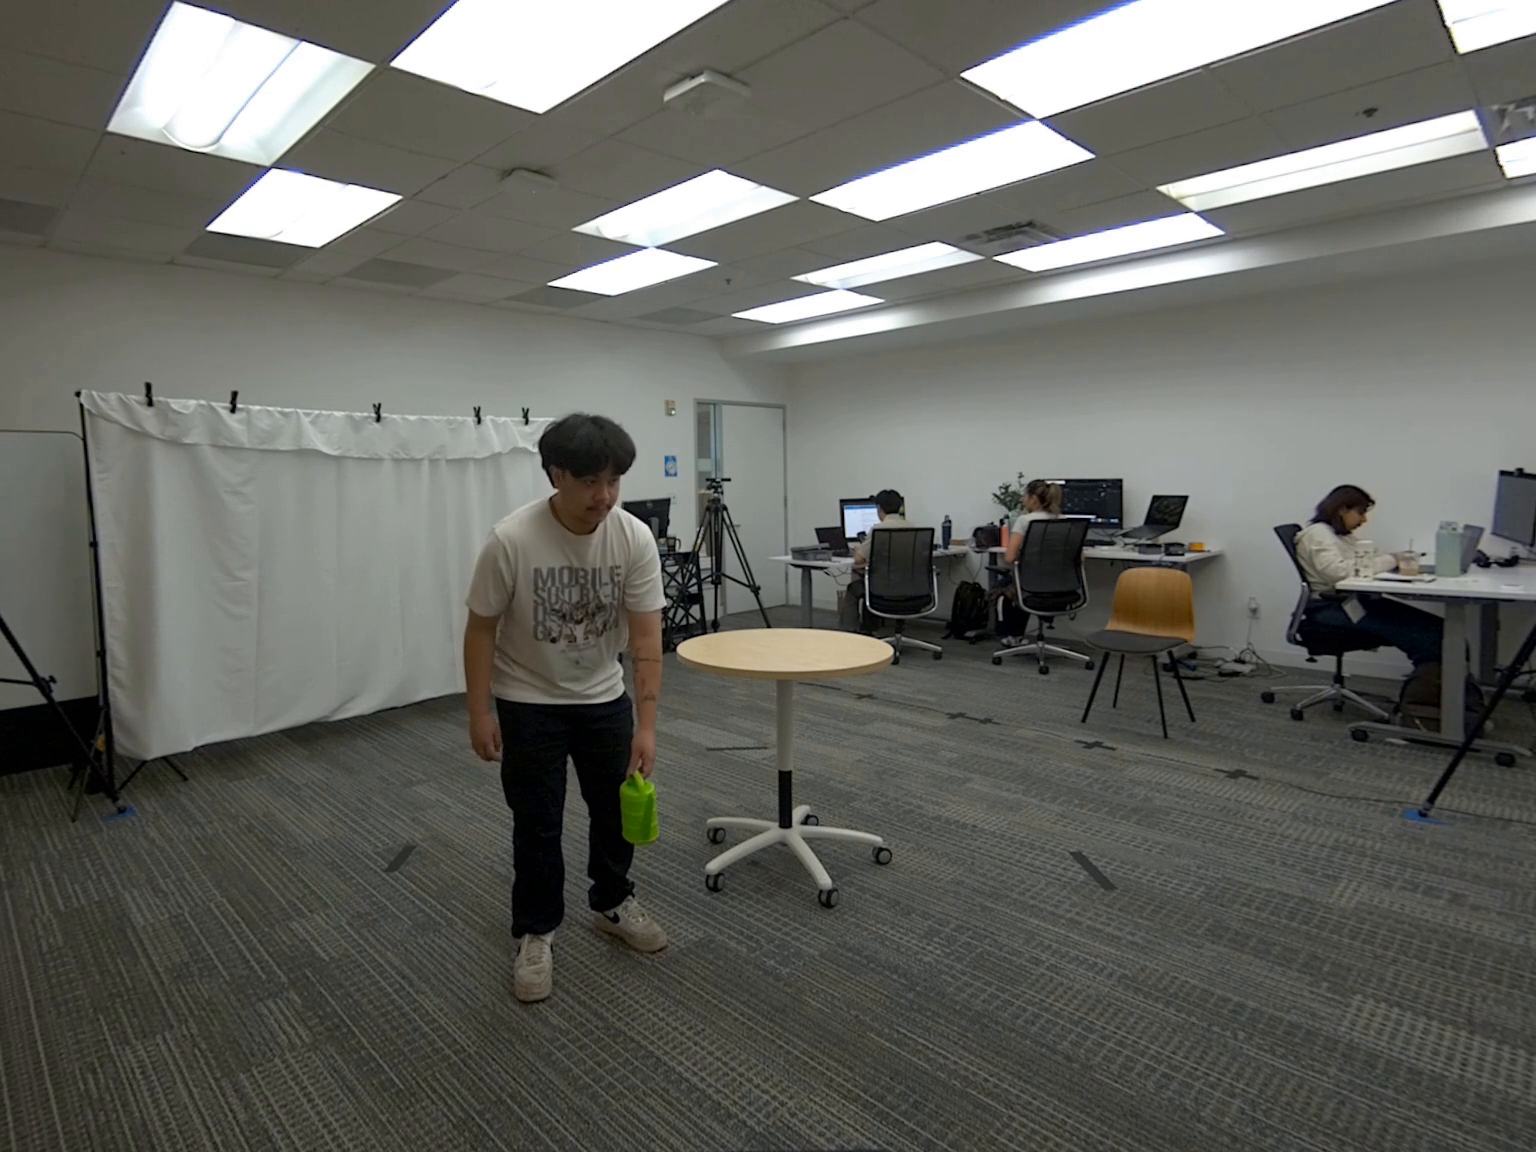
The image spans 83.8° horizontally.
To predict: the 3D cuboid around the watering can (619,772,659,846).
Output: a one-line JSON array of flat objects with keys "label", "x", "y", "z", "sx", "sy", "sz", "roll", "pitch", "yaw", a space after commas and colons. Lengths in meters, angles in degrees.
[{"label": "watering can", "x": -0.335, "y": 0.606, "z": 2.213, "sx": 0.097, "sy": 0.176, "sz": 0.280, "roll": -2, "pitch": 4, "yaw": -6}]
